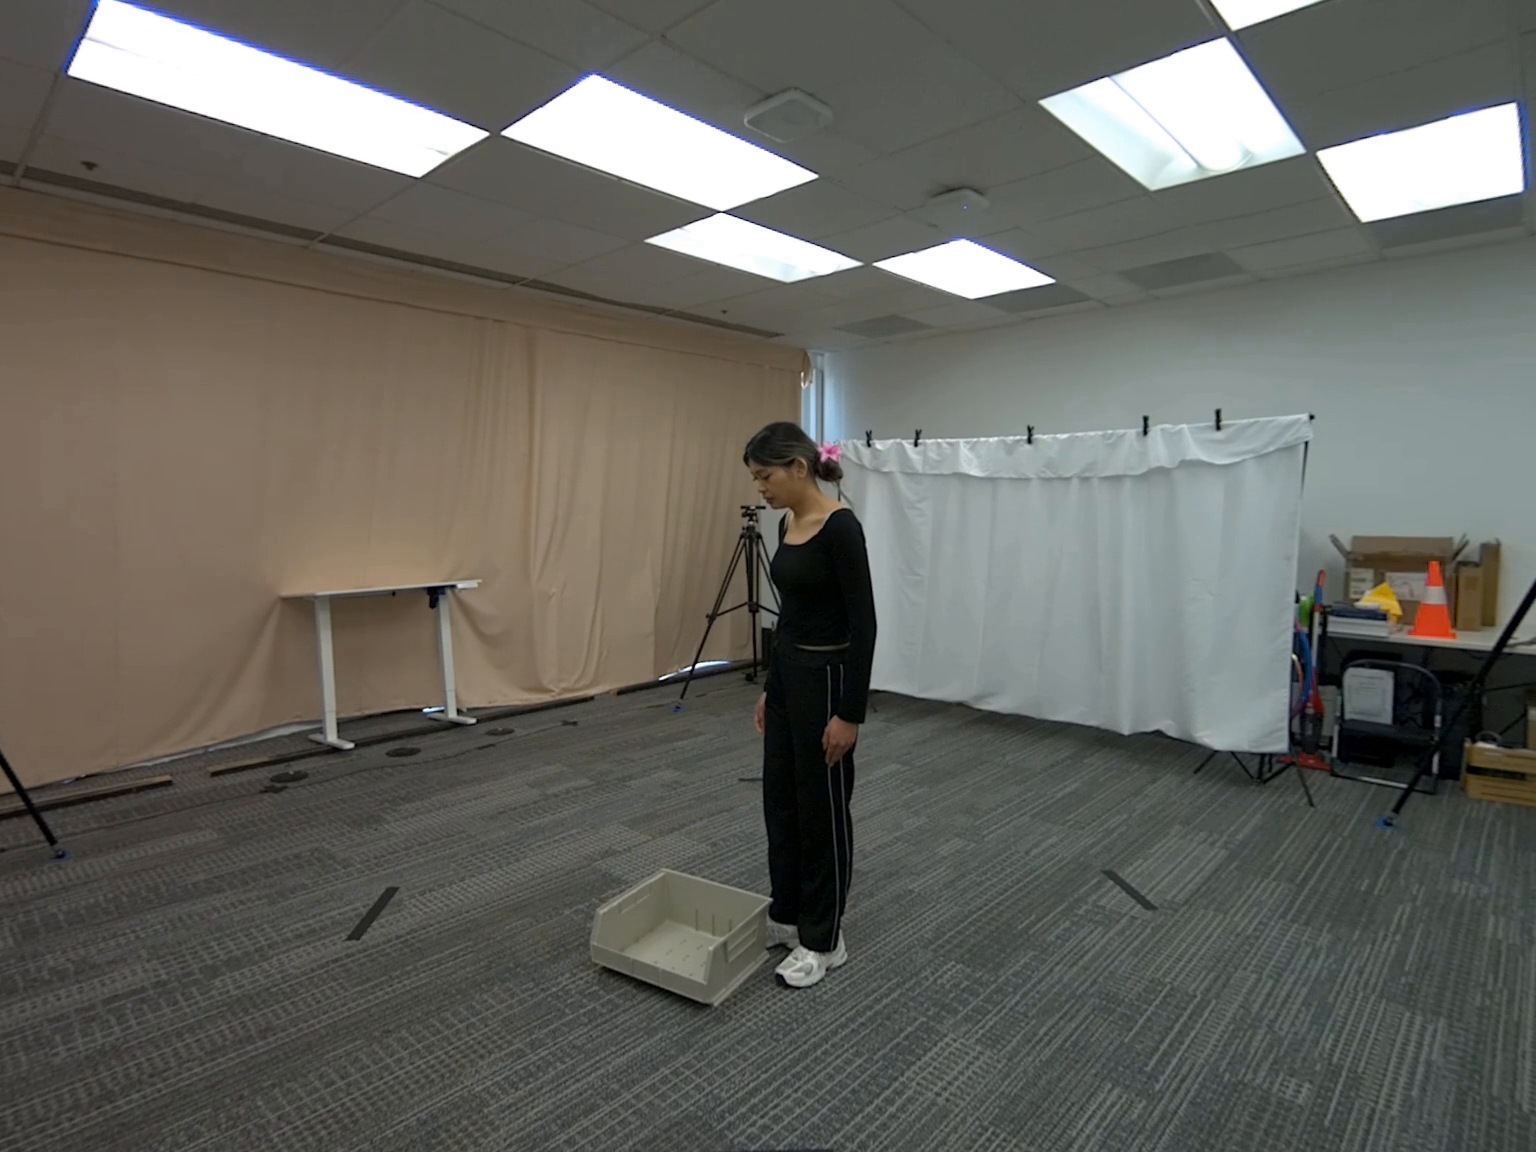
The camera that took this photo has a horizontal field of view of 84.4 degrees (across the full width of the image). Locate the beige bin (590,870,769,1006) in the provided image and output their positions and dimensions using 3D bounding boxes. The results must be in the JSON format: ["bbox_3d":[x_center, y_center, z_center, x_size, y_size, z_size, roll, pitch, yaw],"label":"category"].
[{"bbox_3d":[-0.256,1.092,2.559,0.435,0.189,0.367,2,4,31],"label":"beige bin"}]
